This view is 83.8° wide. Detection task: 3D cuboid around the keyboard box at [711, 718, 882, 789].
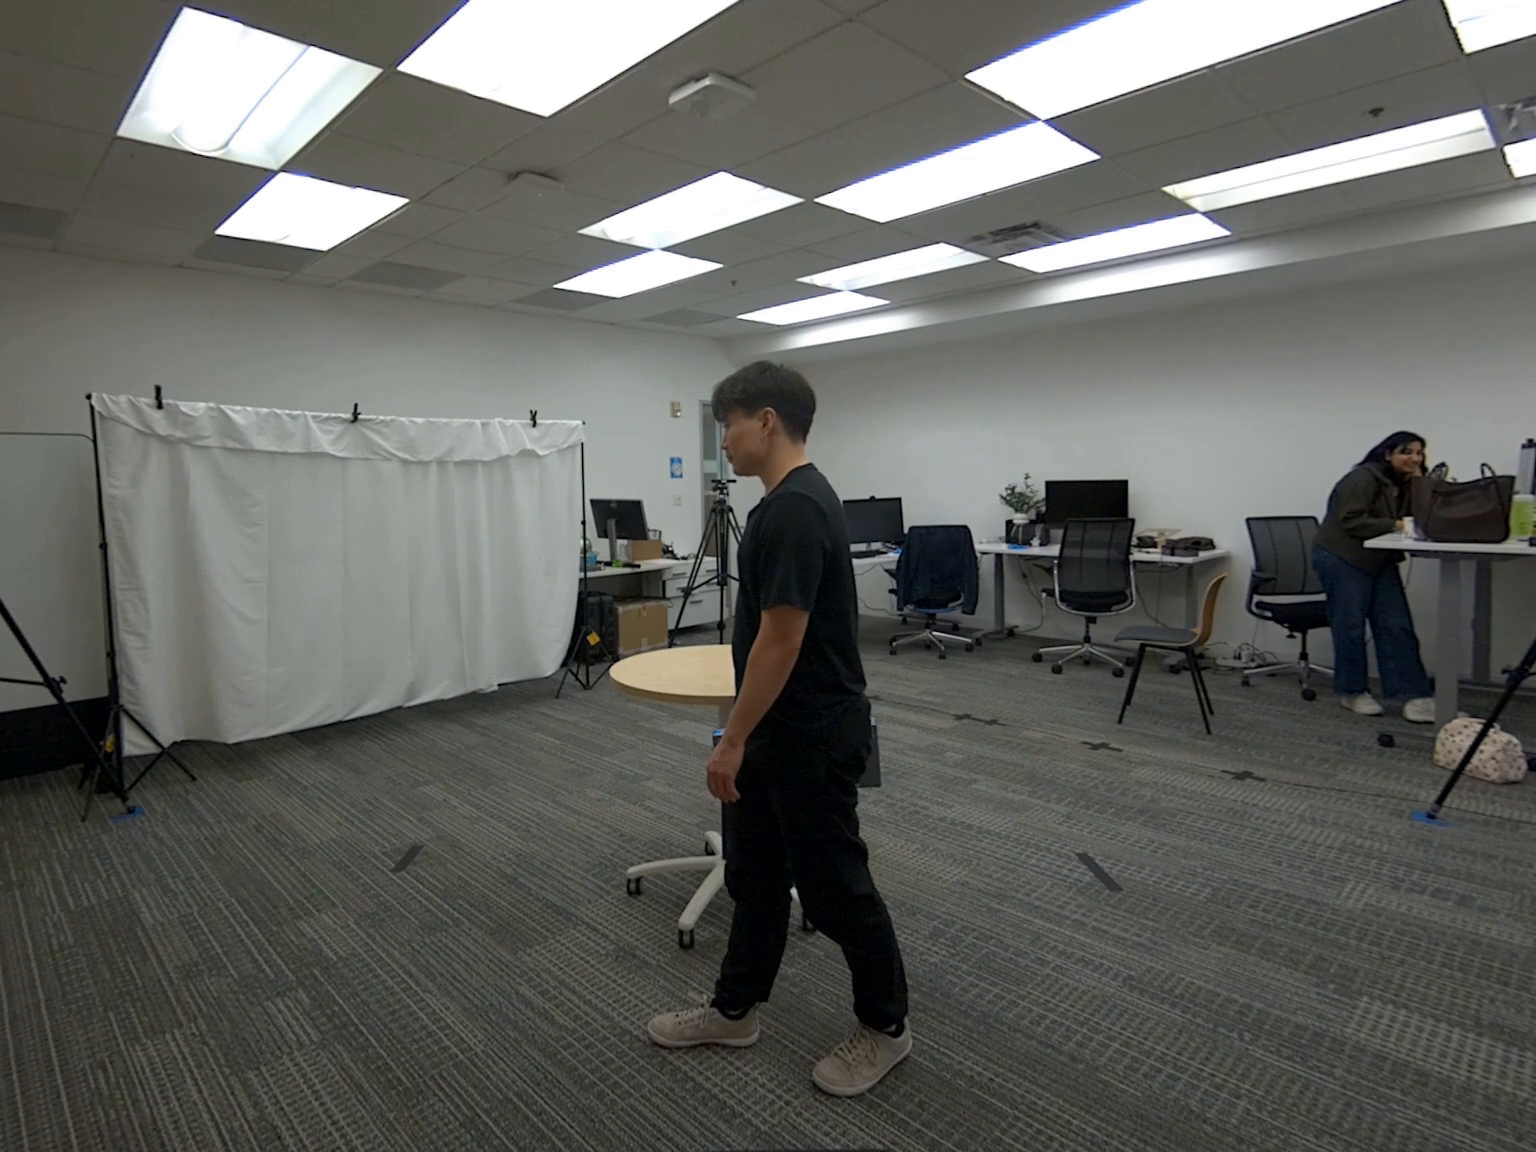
[{"bbox_3d":[0.078,0.488,2.298,0.439,0.175,0.059,-5,5,5],"label":"keyboard box"}]
